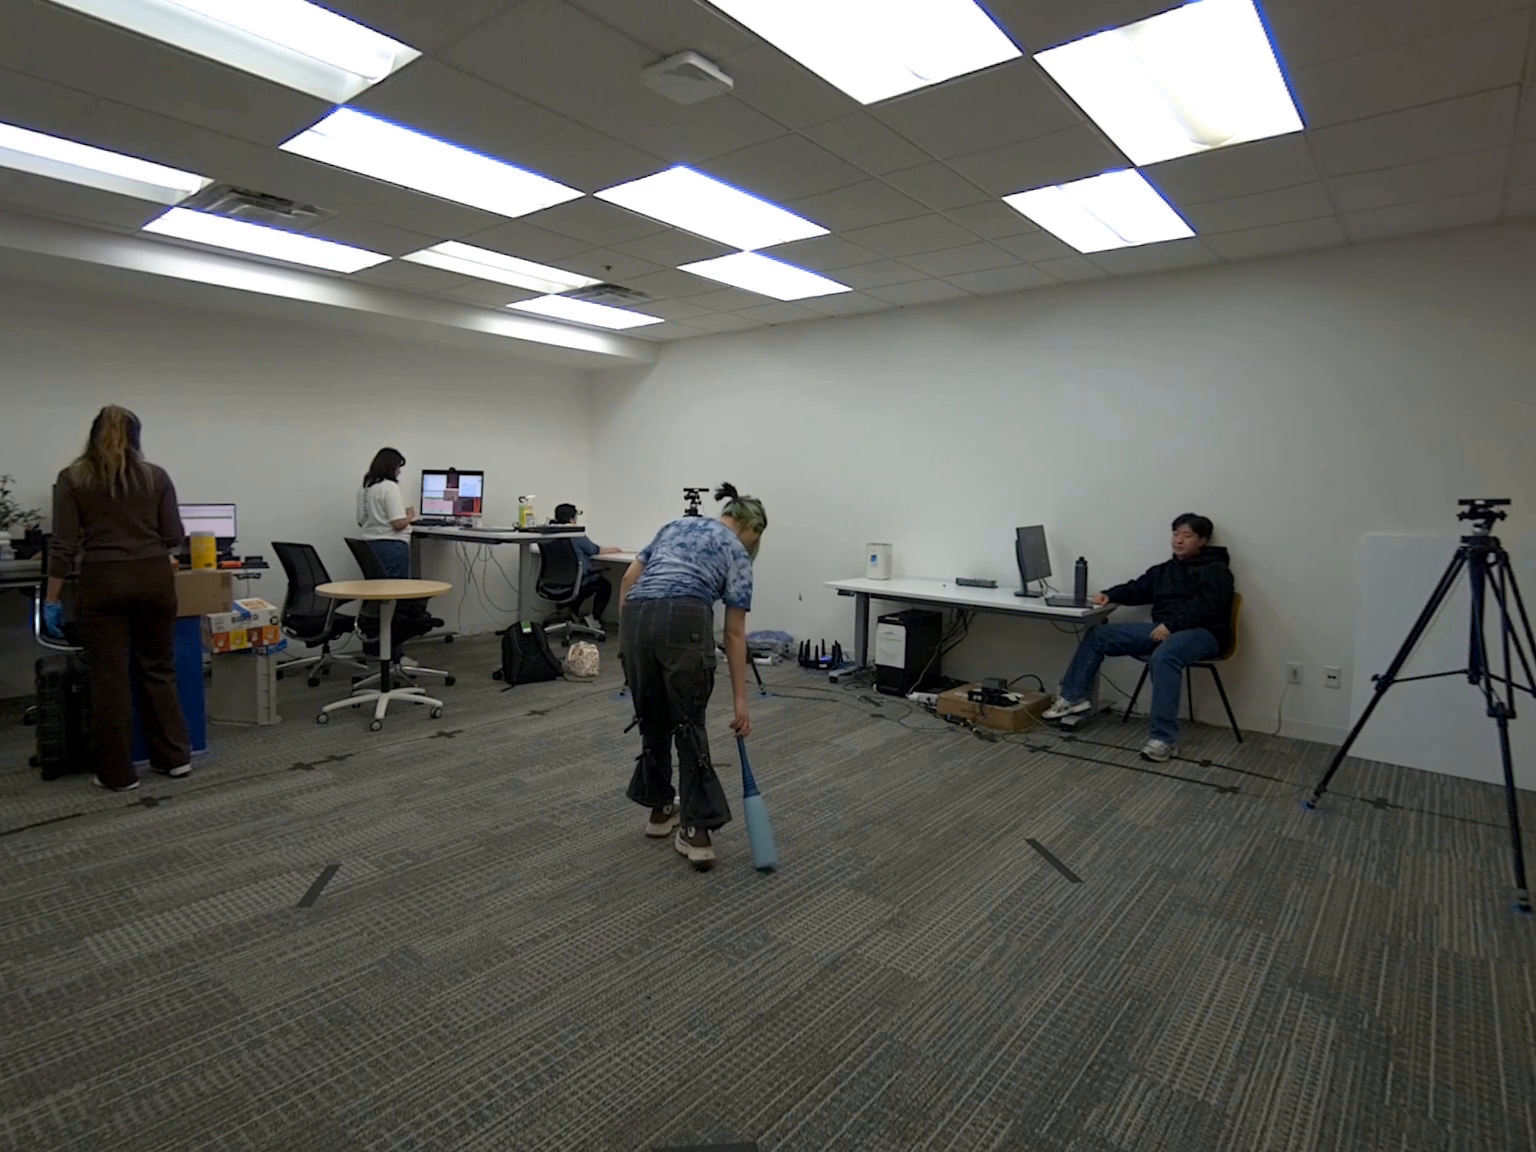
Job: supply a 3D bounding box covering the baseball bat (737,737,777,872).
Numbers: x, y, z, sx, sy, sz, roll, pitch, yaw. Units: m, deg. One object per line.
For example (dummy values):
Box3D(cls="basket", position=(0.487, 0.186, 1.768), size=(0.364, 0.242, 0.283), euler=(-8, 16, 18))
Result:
Box3D(cls="baseball bat", position=(-0.075, 0.817, 3.204), size=(0.088, 0.555, 0.087), euler=(-11, -20, -6))
